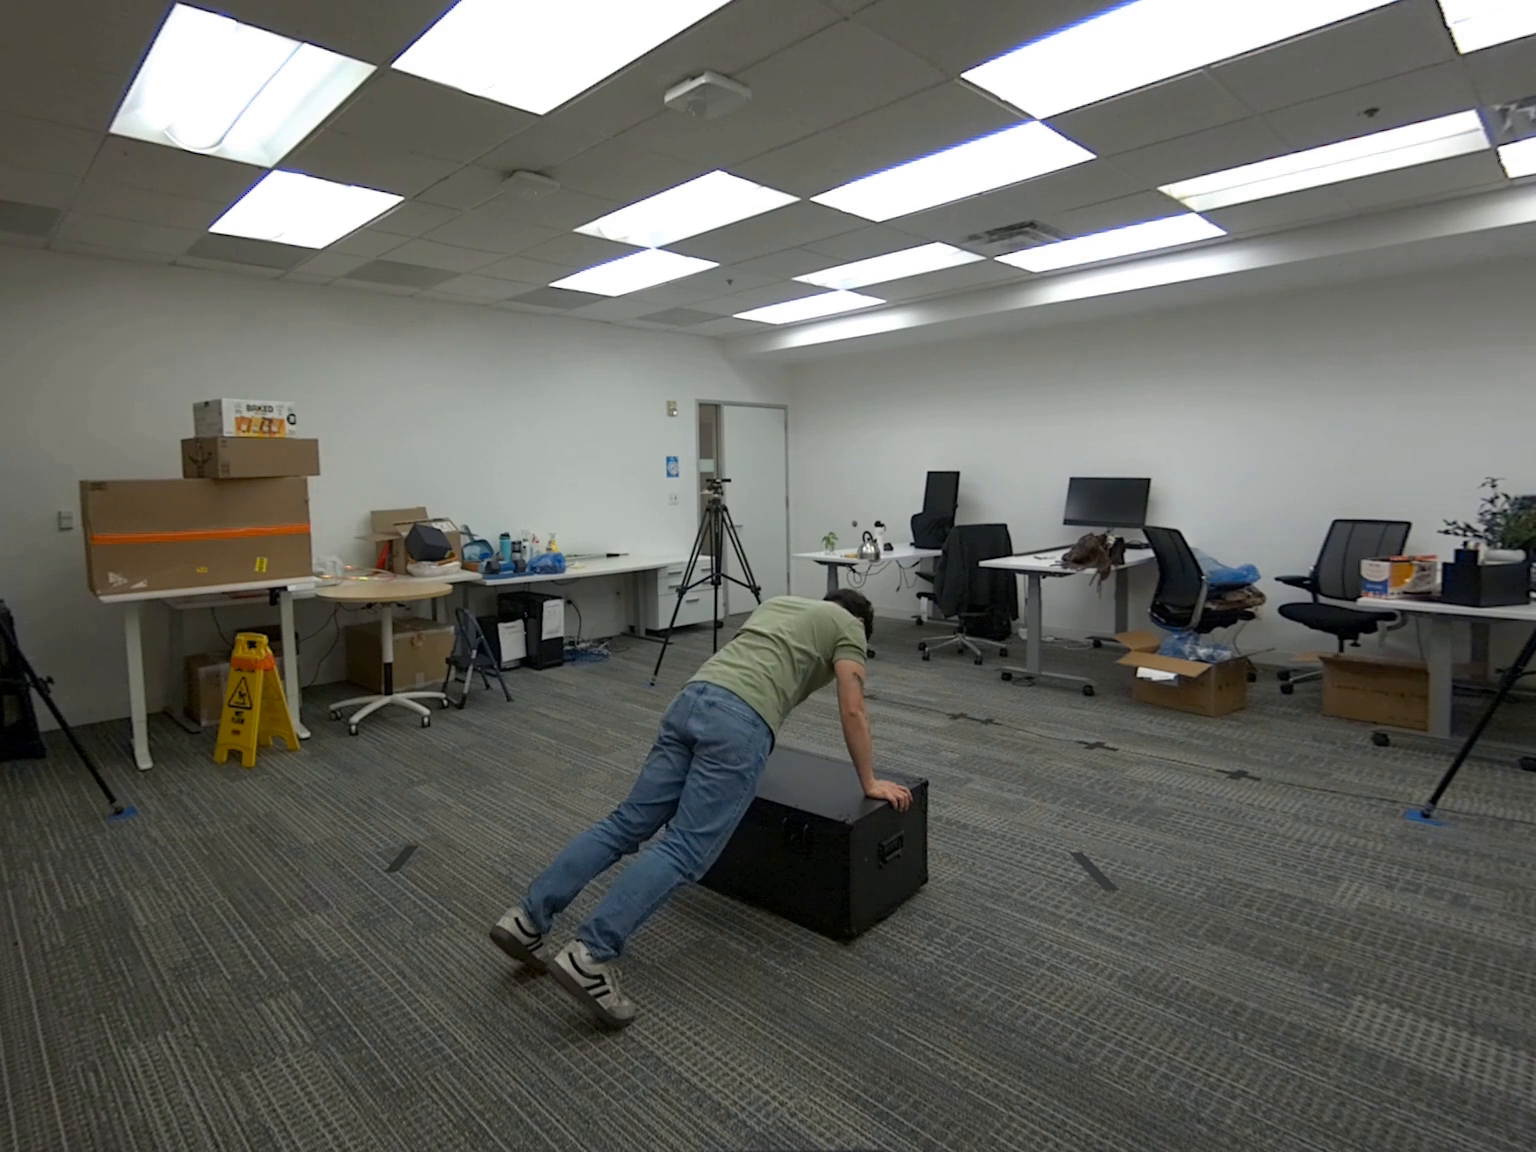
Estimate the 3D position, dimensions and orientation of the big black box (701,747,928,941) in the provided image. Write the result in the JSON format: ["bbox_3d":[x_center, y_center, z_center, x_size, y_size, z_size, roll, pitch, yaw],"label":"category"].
[{"bbox_3d":[0.063,0.868,2.983,0.888,0.394,0.508,5,8,40],"label":"big black box"}]
